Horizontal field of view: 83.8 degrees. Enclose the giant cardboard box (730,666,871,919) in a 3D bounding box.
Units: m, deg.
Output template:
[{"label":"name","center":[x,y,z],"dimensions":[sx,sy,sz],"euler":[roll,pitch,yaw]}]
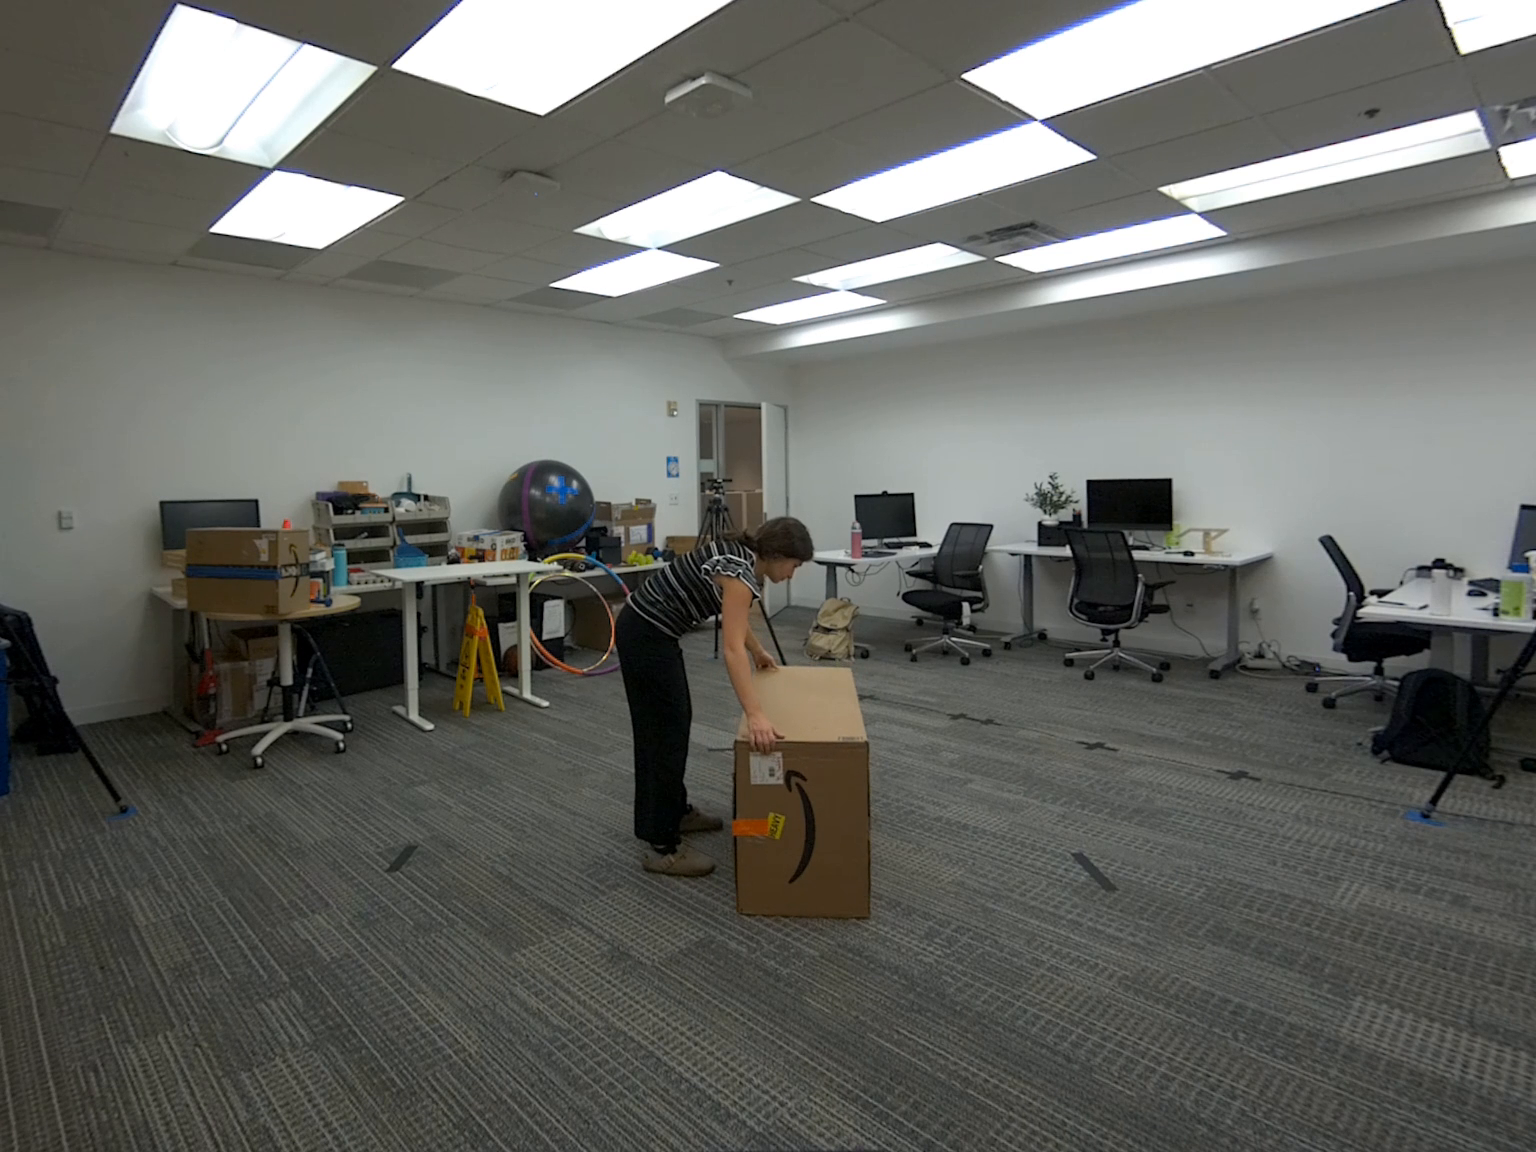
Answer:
[{"label":"giant cardboard box","center":[0.134,0.739,3.209],"dimensions":[0.428,0.575,1.026],"euler":[-1,6,3]}]
